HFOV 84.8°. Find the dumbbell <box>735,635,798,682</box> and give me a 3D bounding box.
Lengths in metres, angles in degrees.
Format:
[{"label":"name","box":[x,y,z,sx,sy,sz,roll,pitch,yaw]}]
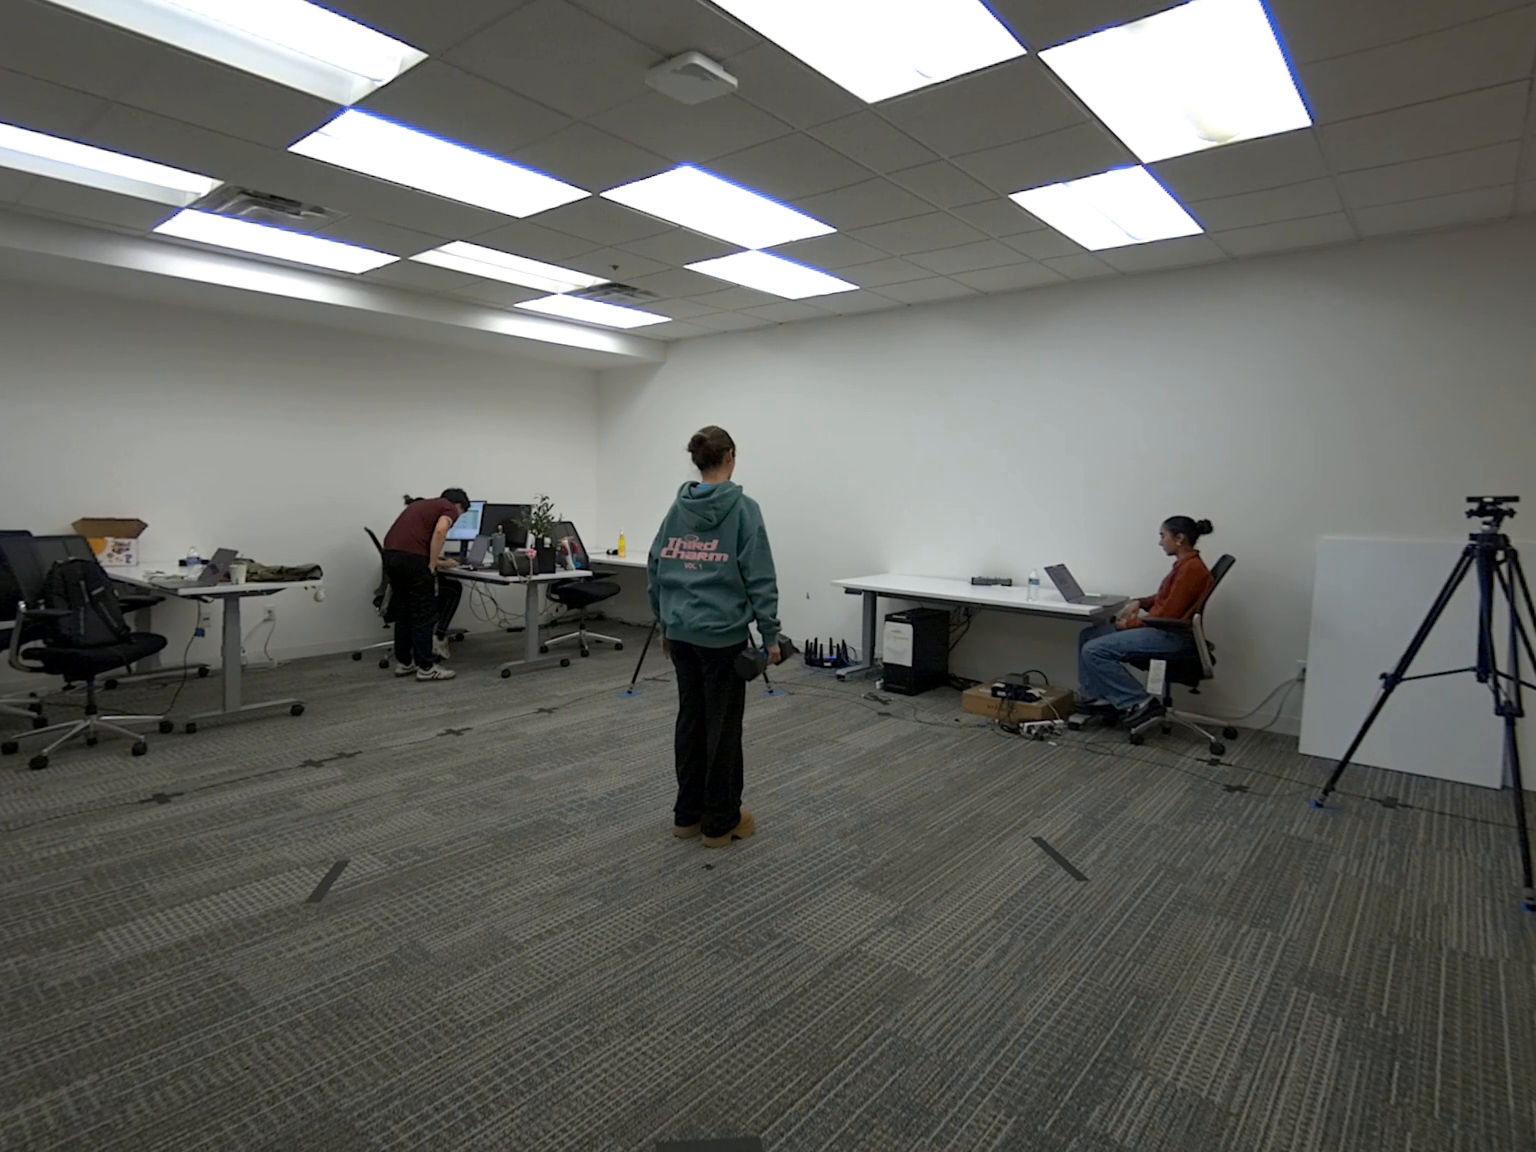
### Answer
[{"label":"dumbbell","box":[-0.028,0.311,3.307,0.123,0.111,0.288,-44,-13,33]}]
